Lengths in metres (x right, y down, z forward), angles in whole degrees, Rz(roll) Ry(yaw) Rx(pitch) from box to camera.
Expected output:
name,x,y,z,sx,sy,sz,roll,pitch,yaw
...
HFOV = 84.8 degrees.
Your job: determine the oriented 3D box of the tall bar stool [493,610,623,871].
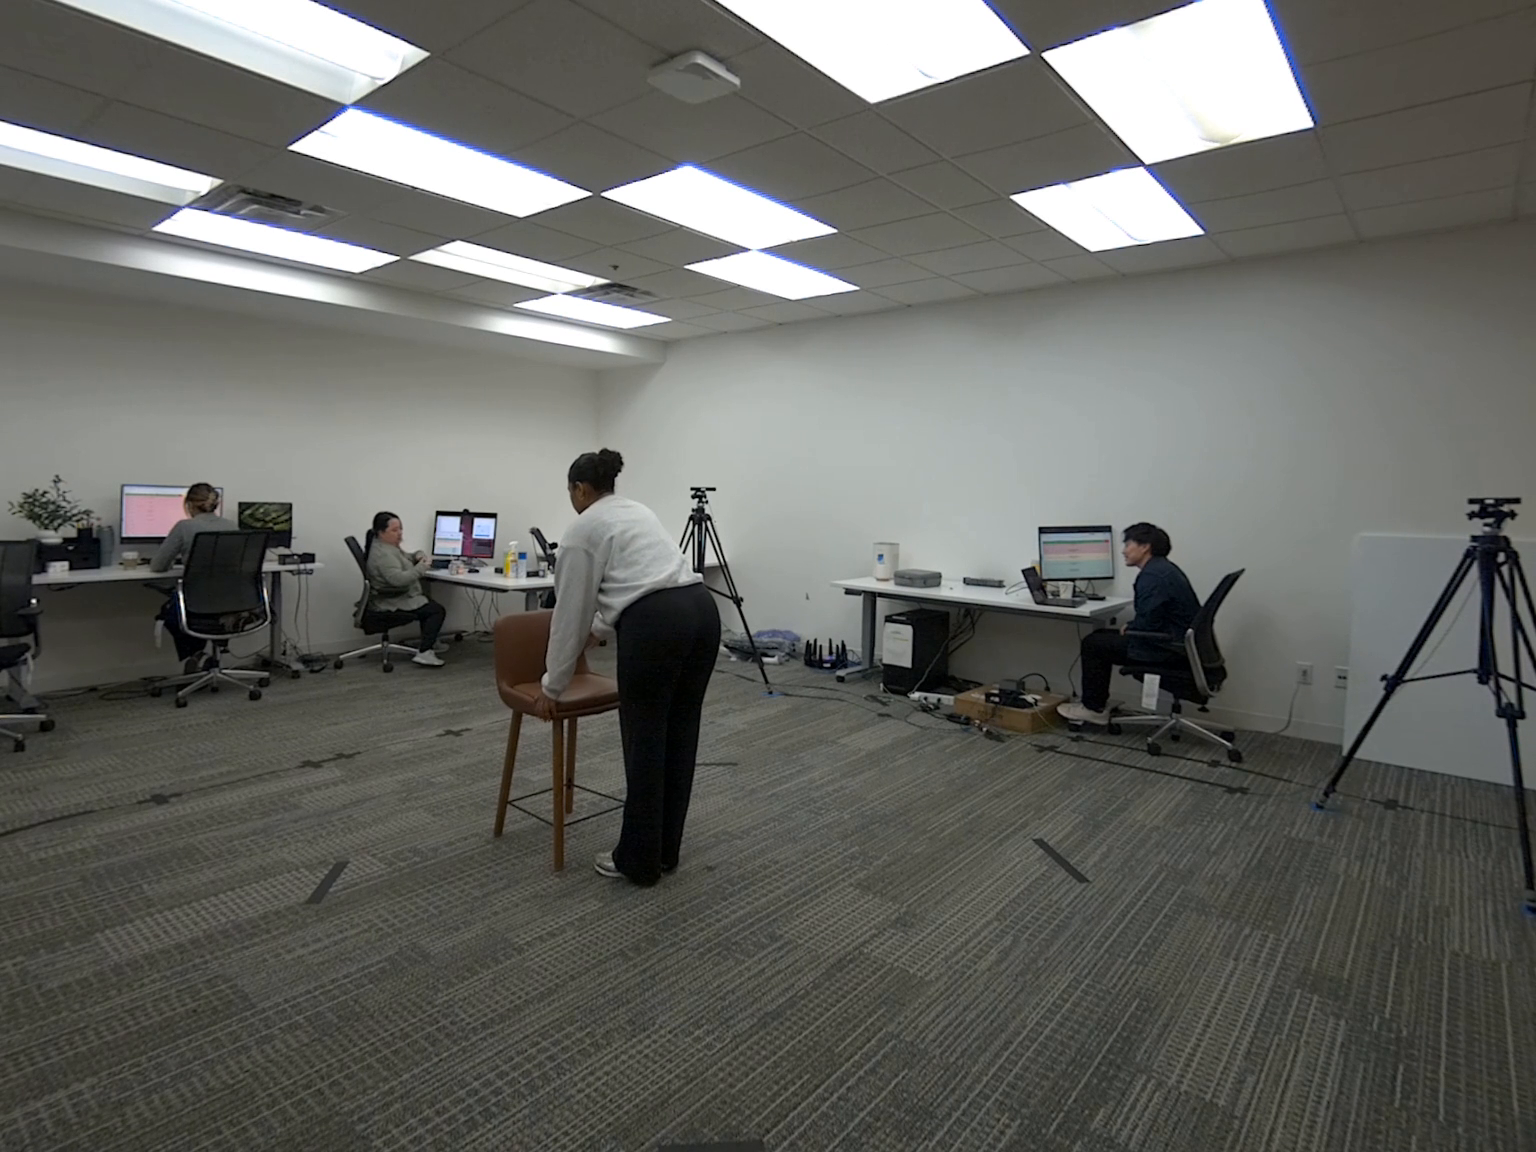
name,x,y,z,sx,sy,sz,roll,pitch,yaw
tall bar stool,-0.808,0.598,3.338,0.483,0.889,0.442,1,2,42
